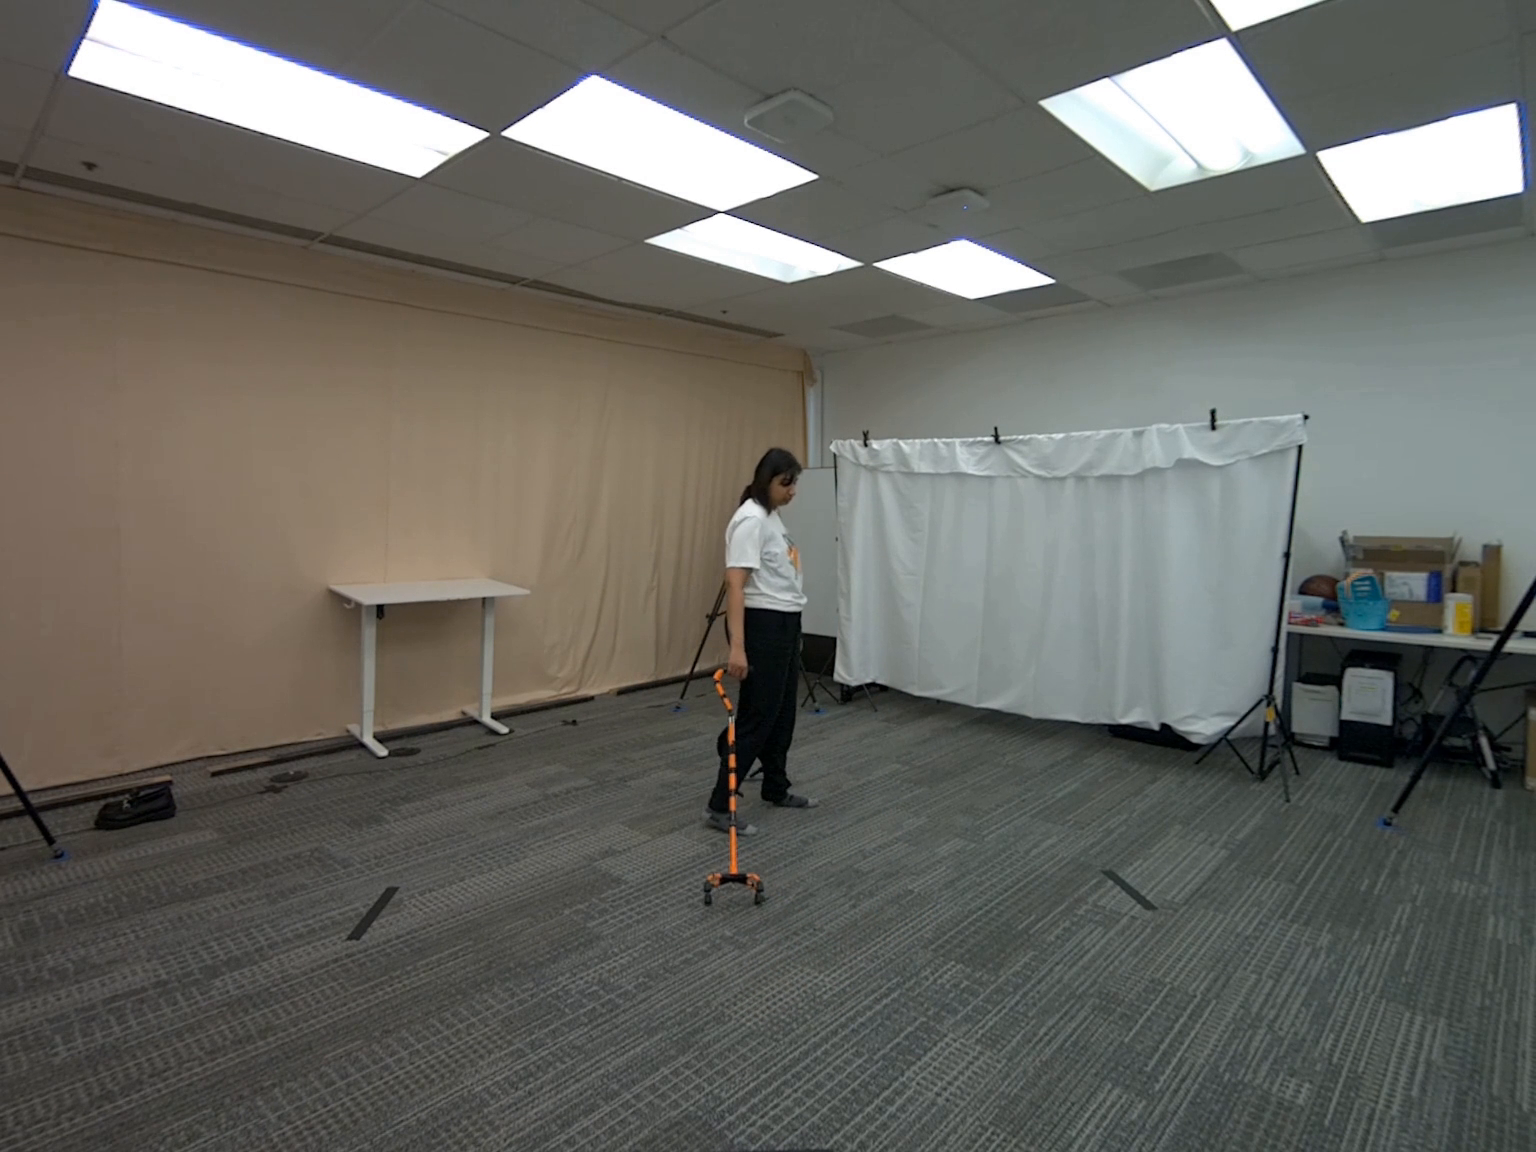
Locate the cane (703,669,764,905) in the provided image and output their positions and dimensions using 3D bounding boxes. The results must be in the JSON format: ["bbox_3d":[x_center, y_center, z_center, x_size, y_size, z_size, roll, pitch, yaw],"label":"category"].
[{"bbox_3d":[-0.127,0.738,3.165,0.206,0.925,0.149,1,-38,-5],"label":"cane"}]
